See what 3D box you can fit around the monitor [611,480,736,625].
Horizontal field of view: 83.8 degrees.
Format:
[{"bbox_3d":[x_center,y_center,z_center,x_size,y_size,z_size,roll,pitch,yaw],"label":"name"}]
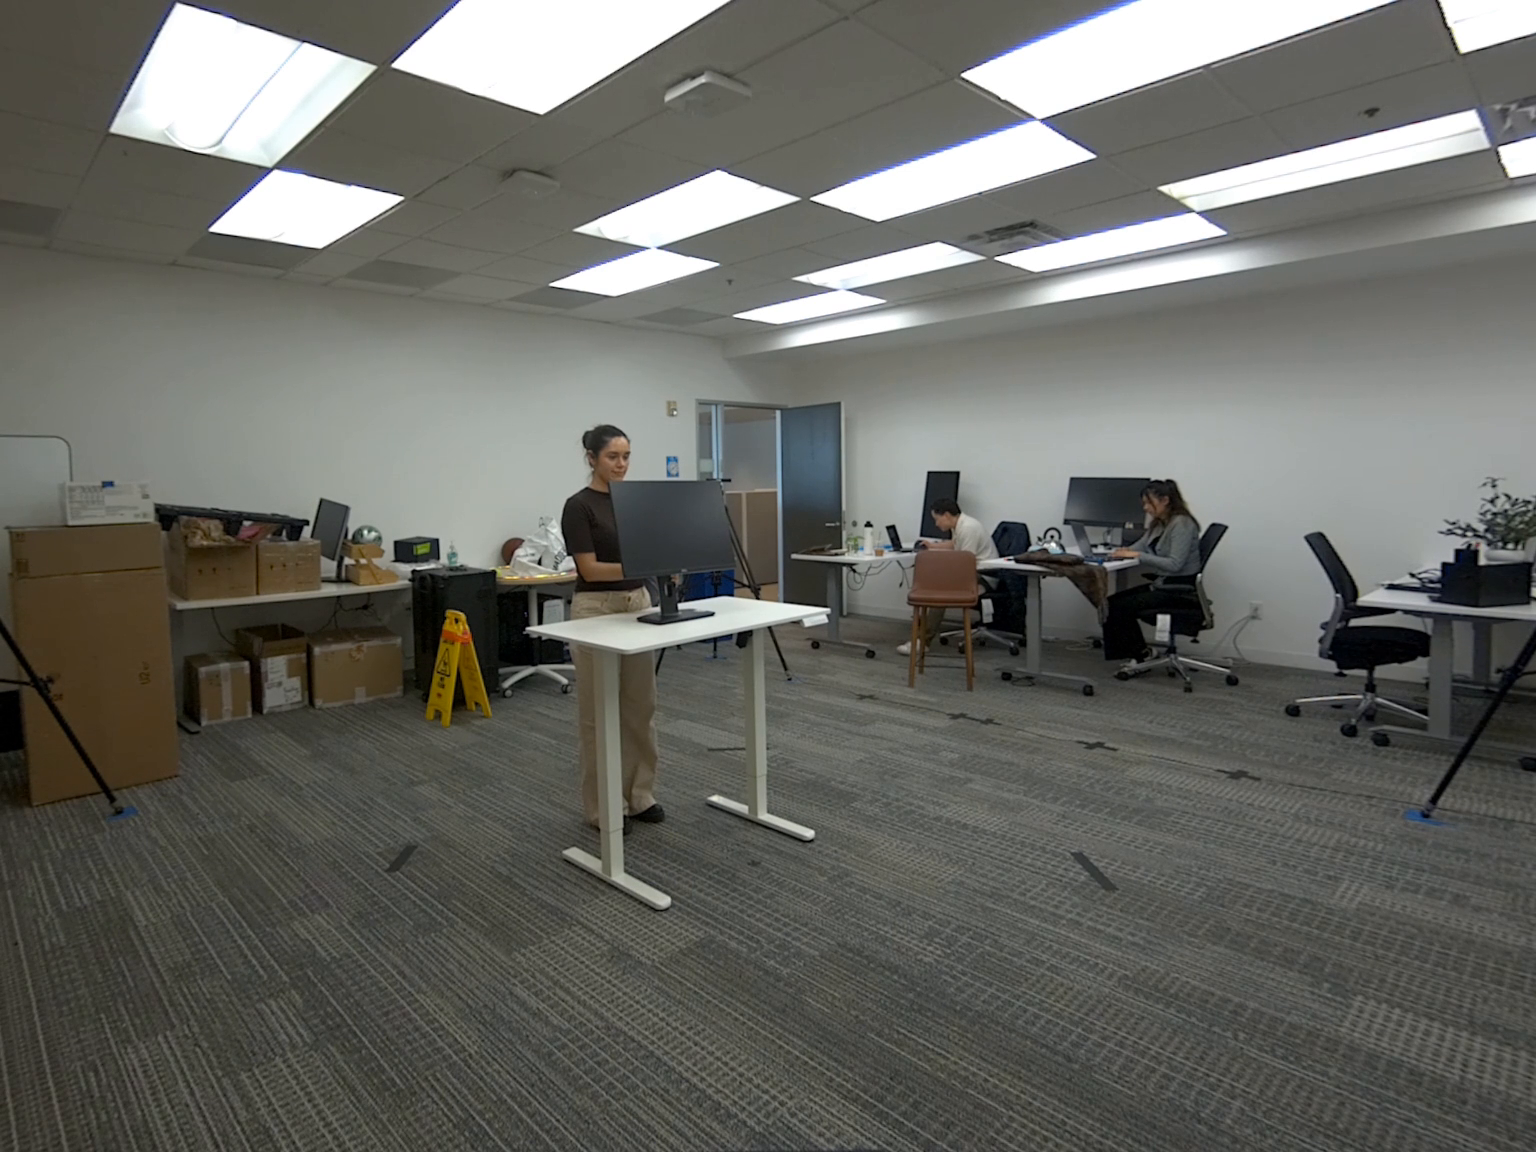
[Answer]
[{"bbox_3d":[-0.358,-0.095,3.181,0.192,0.521,0.525,0,4,44],"label":"monitor"}]
